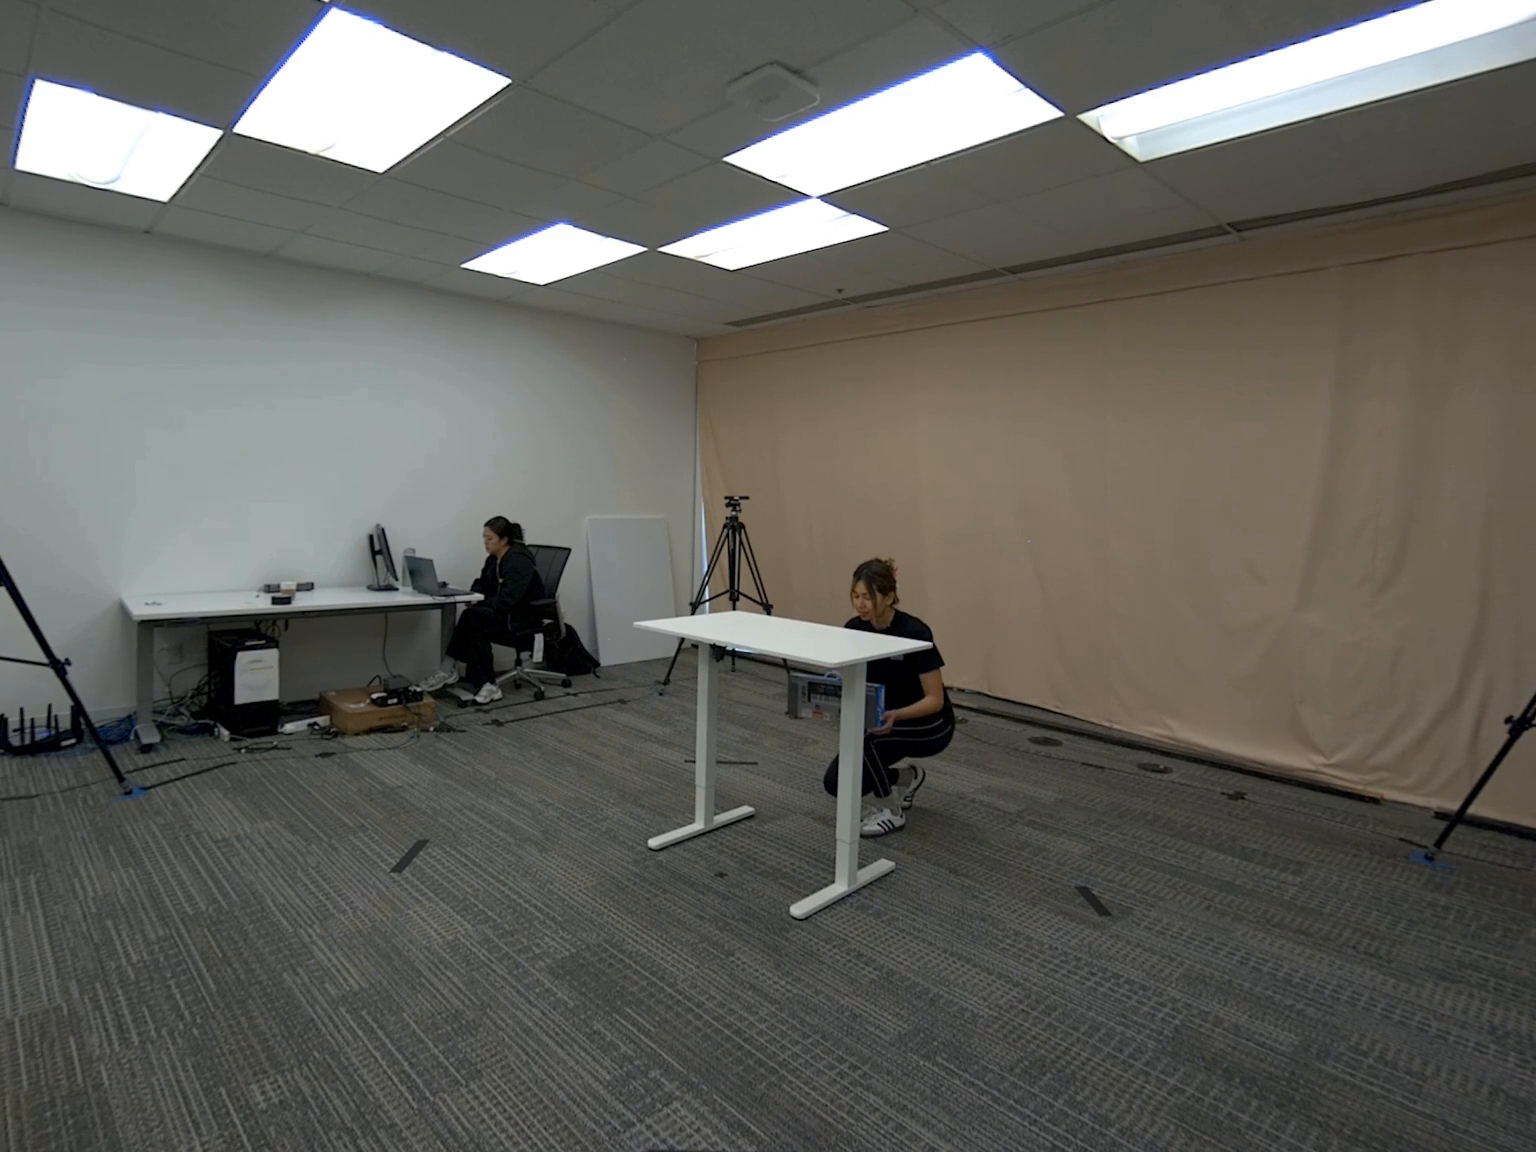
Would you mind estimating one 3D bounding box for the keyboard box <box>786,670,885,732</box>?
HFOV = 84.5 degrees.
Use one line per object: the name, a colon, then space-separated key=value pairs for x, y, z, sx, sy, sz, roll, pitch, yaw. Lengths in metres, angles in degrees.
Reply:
keyboard box: x=0.262 y=0.508 z=3.421 sx=0.447 sy=0.176 sz=0.058 roll=2 pitch=0 yaw=40
